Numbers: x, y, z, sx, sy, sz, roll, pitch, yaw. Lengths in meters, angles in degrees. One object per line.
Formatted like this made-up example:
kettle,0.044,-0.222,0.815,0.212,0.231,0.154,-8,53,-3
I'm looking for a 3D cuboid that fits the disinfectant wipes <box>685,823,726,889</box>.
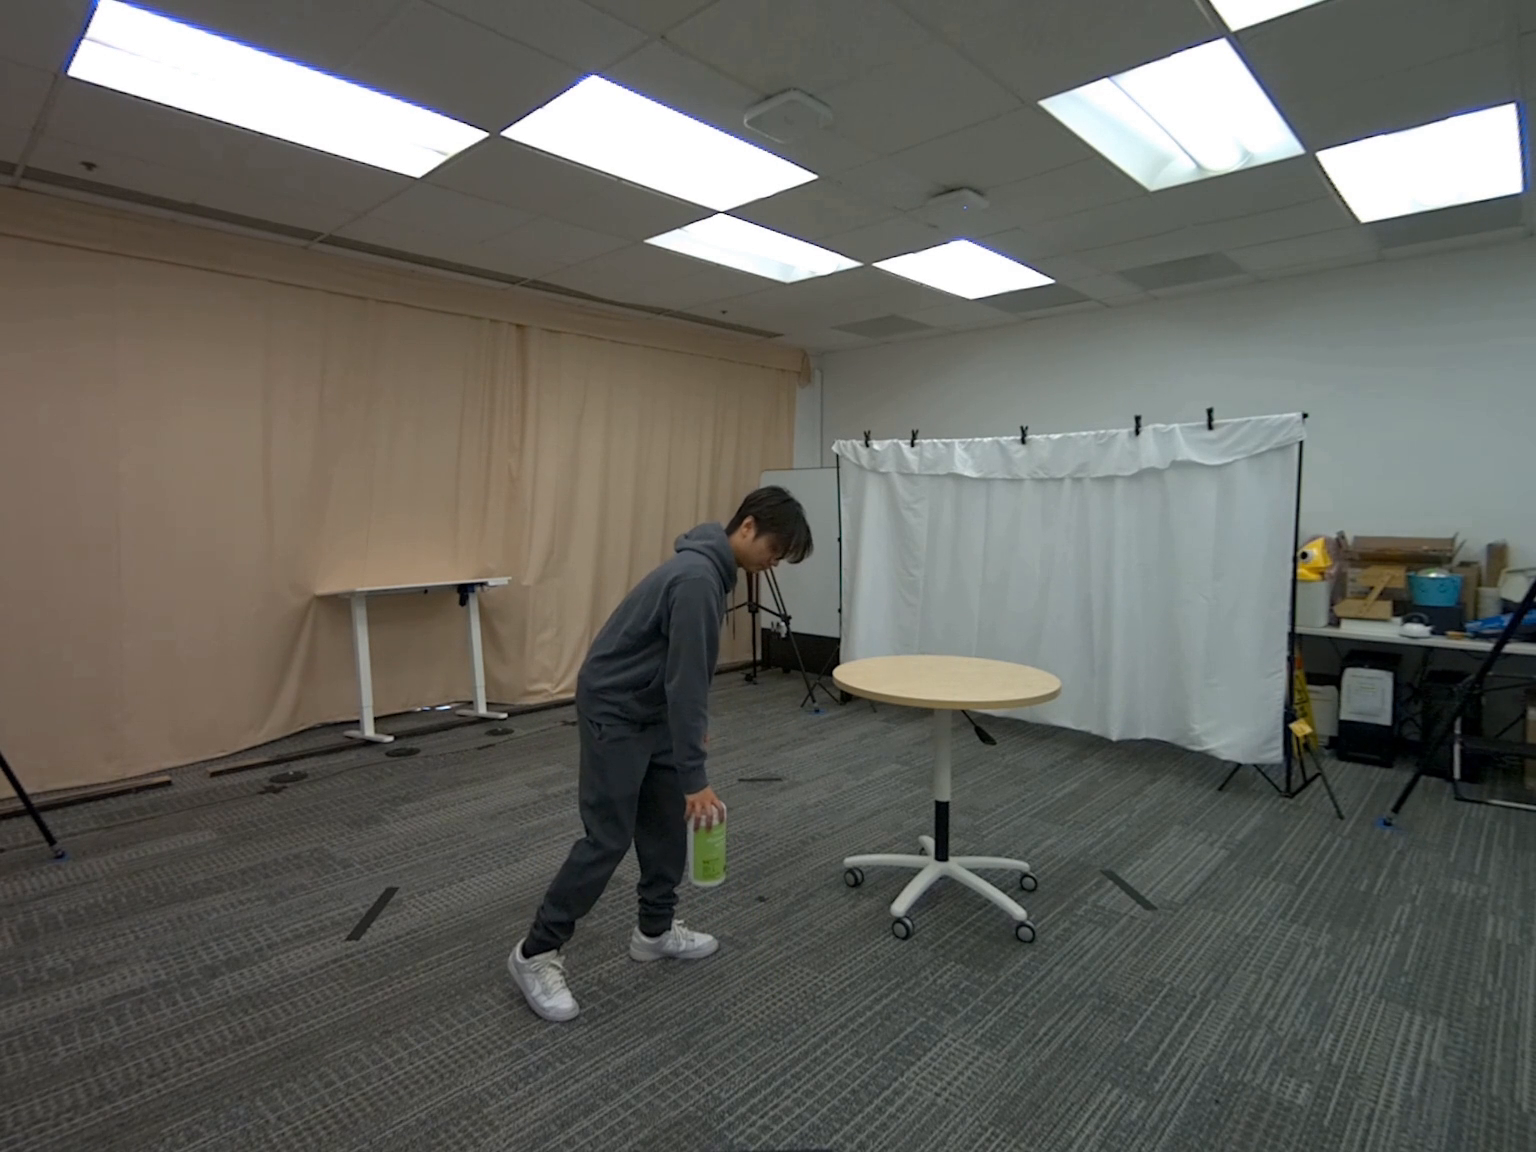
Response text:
disinfectant wipes,-0.170,0.748,2.329,0.117,0.216,0.118,2,7,-2
